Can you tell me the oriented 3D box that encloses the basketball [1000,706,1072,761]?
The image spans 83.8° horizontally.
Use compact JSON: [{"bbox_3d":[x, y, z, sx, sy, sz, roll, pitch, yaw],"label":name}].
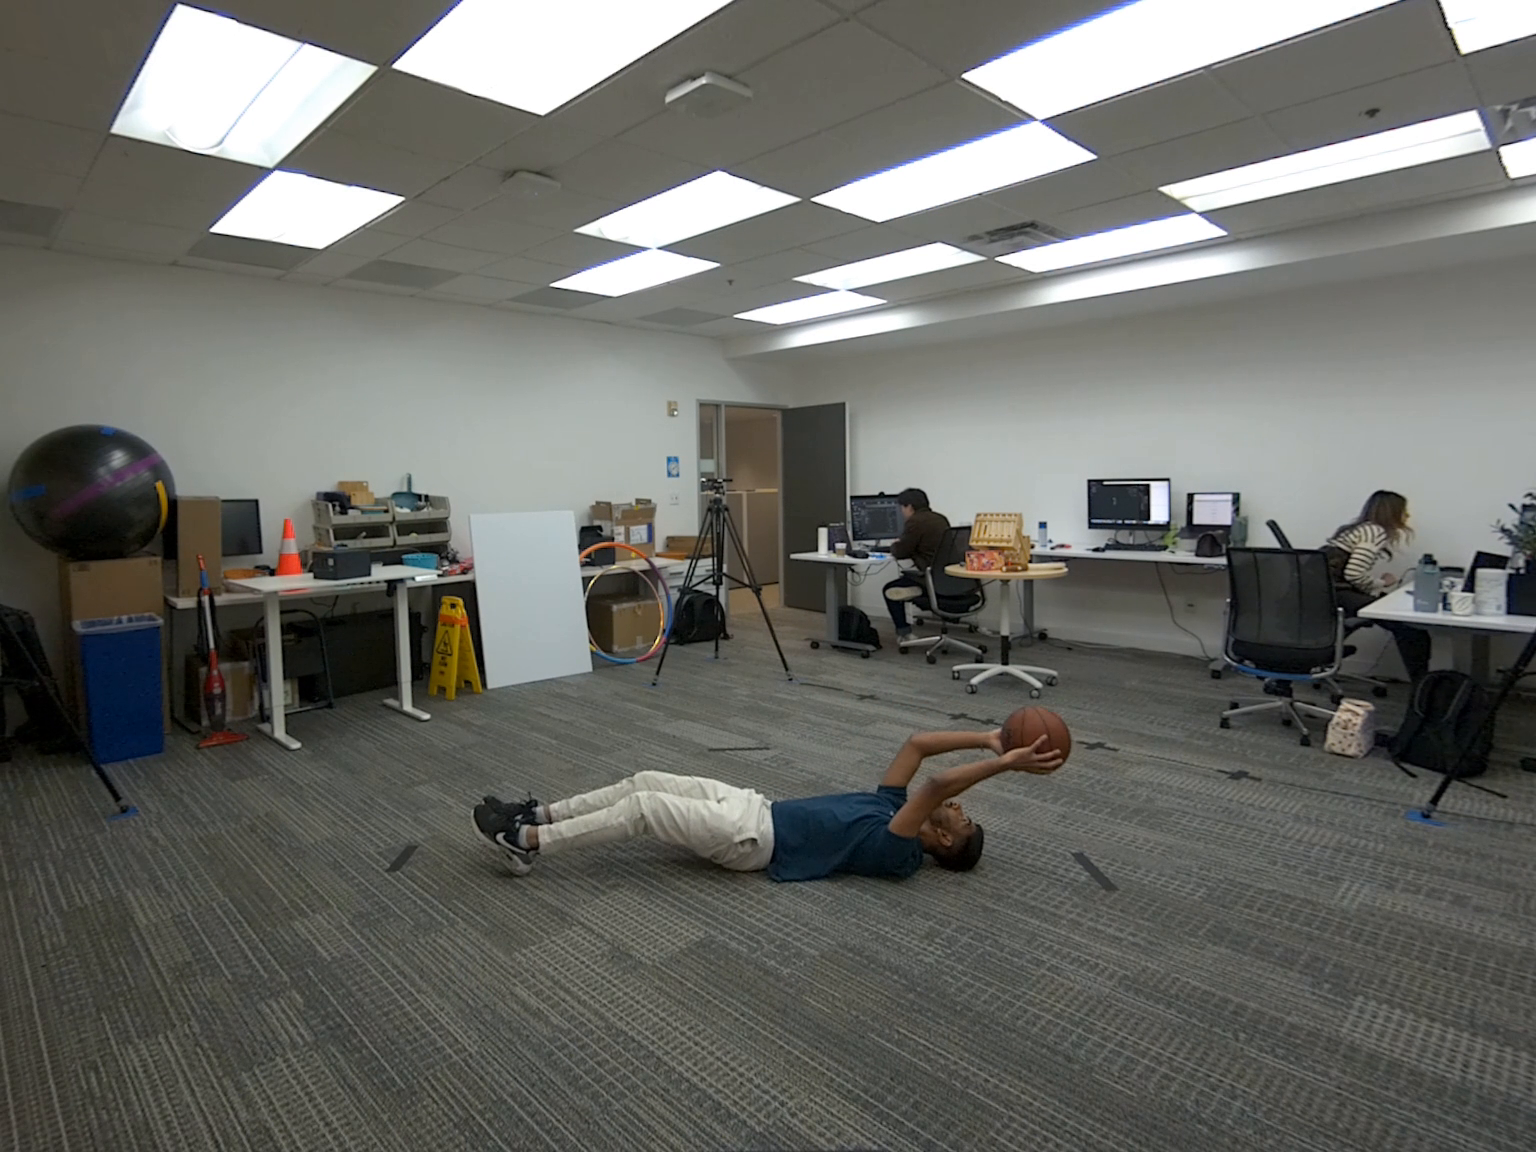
[{"bbox_3d":[0.952,0.581,3.057,0.236,0.235,0.237,-1,5,-2],"label":"basketball"}]
